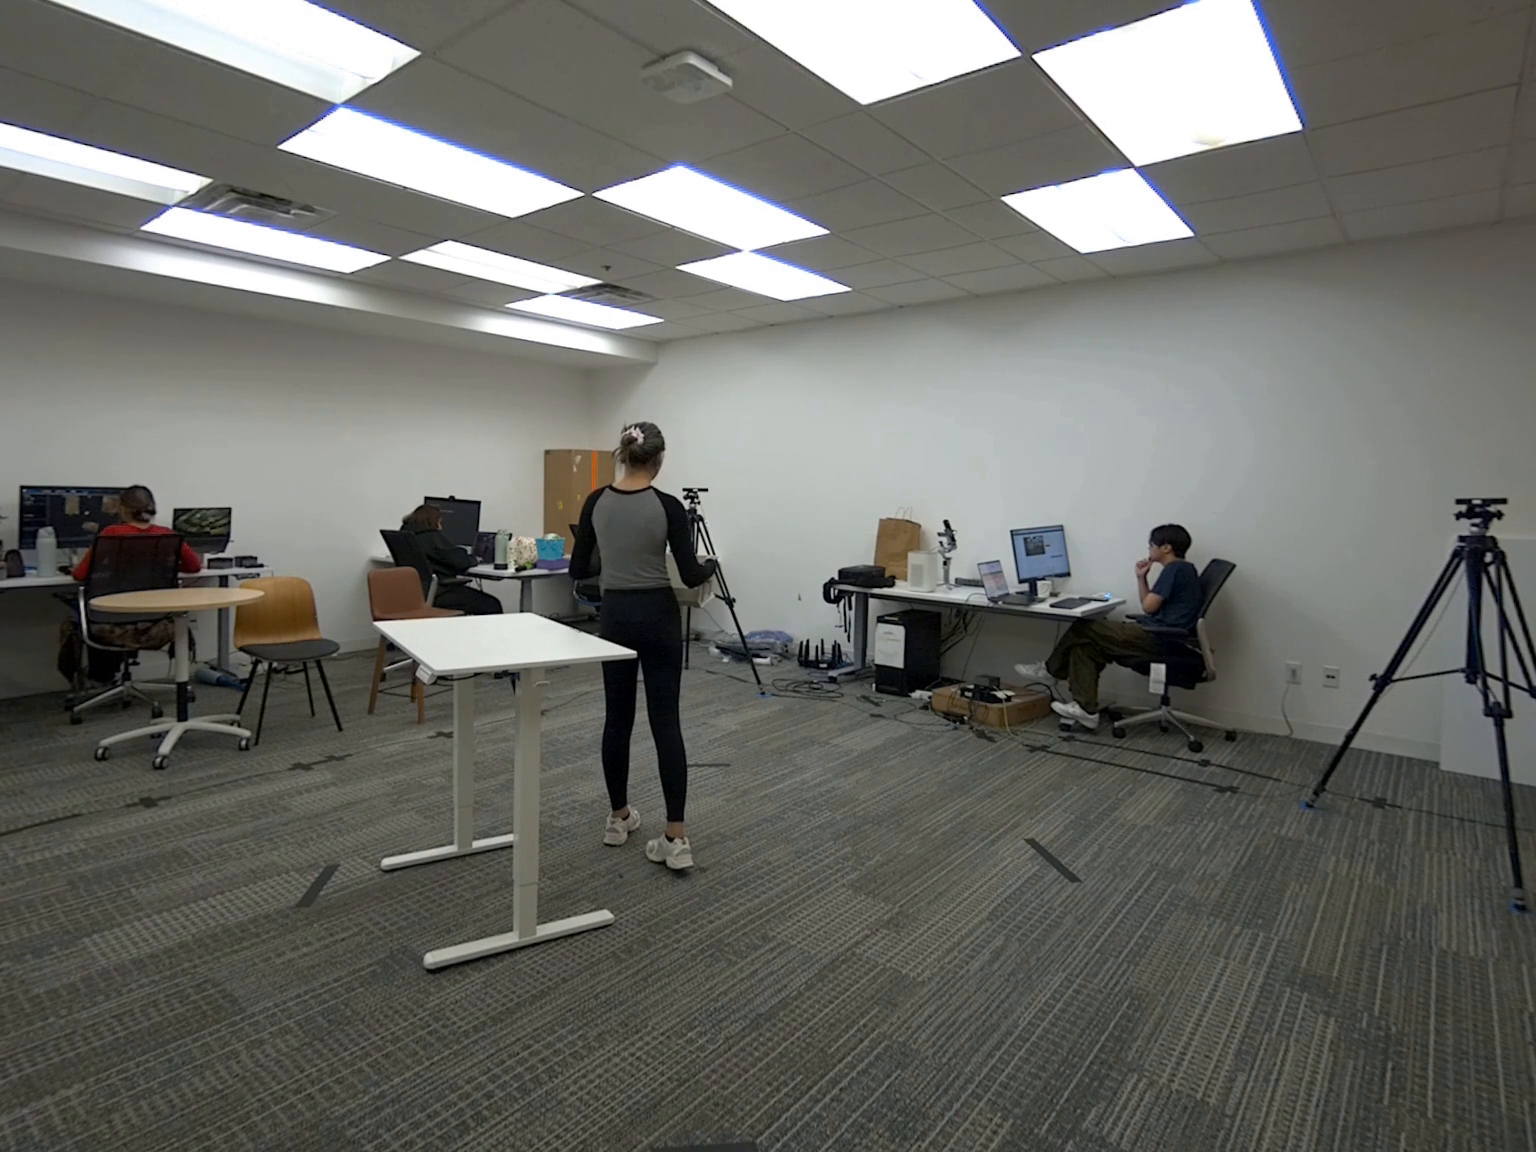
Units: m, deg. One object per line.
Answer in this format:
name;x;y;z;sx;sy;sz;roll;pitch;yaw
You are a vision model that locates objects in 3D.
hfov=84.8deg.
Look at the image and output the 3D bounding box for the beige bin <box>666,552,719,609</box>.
beige bin;-0.460;0.012;3.582;0.427;0.188;0.374;3;4;9
